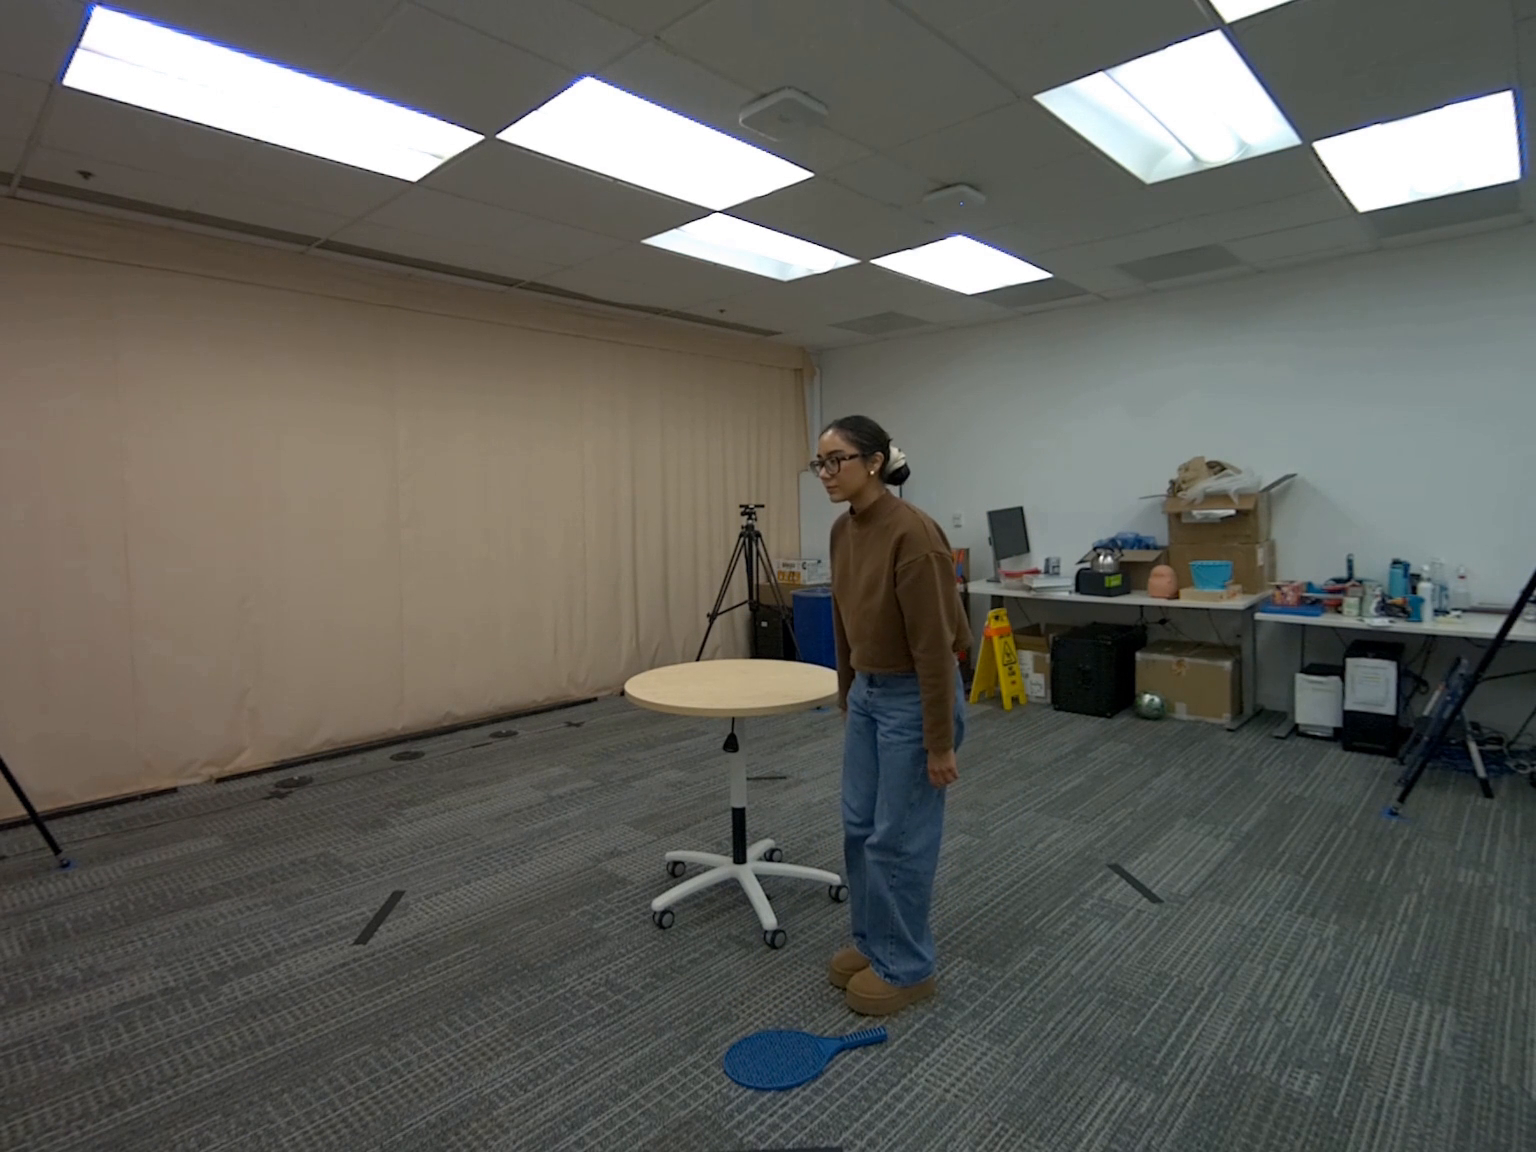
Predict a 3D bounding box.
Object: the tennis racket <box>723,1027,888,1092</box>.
[{"bbox_3d":[0.100,1.193,2.133,0.425,0.031,0.218,-4,6,-18],"label":"tennis racket"}]
